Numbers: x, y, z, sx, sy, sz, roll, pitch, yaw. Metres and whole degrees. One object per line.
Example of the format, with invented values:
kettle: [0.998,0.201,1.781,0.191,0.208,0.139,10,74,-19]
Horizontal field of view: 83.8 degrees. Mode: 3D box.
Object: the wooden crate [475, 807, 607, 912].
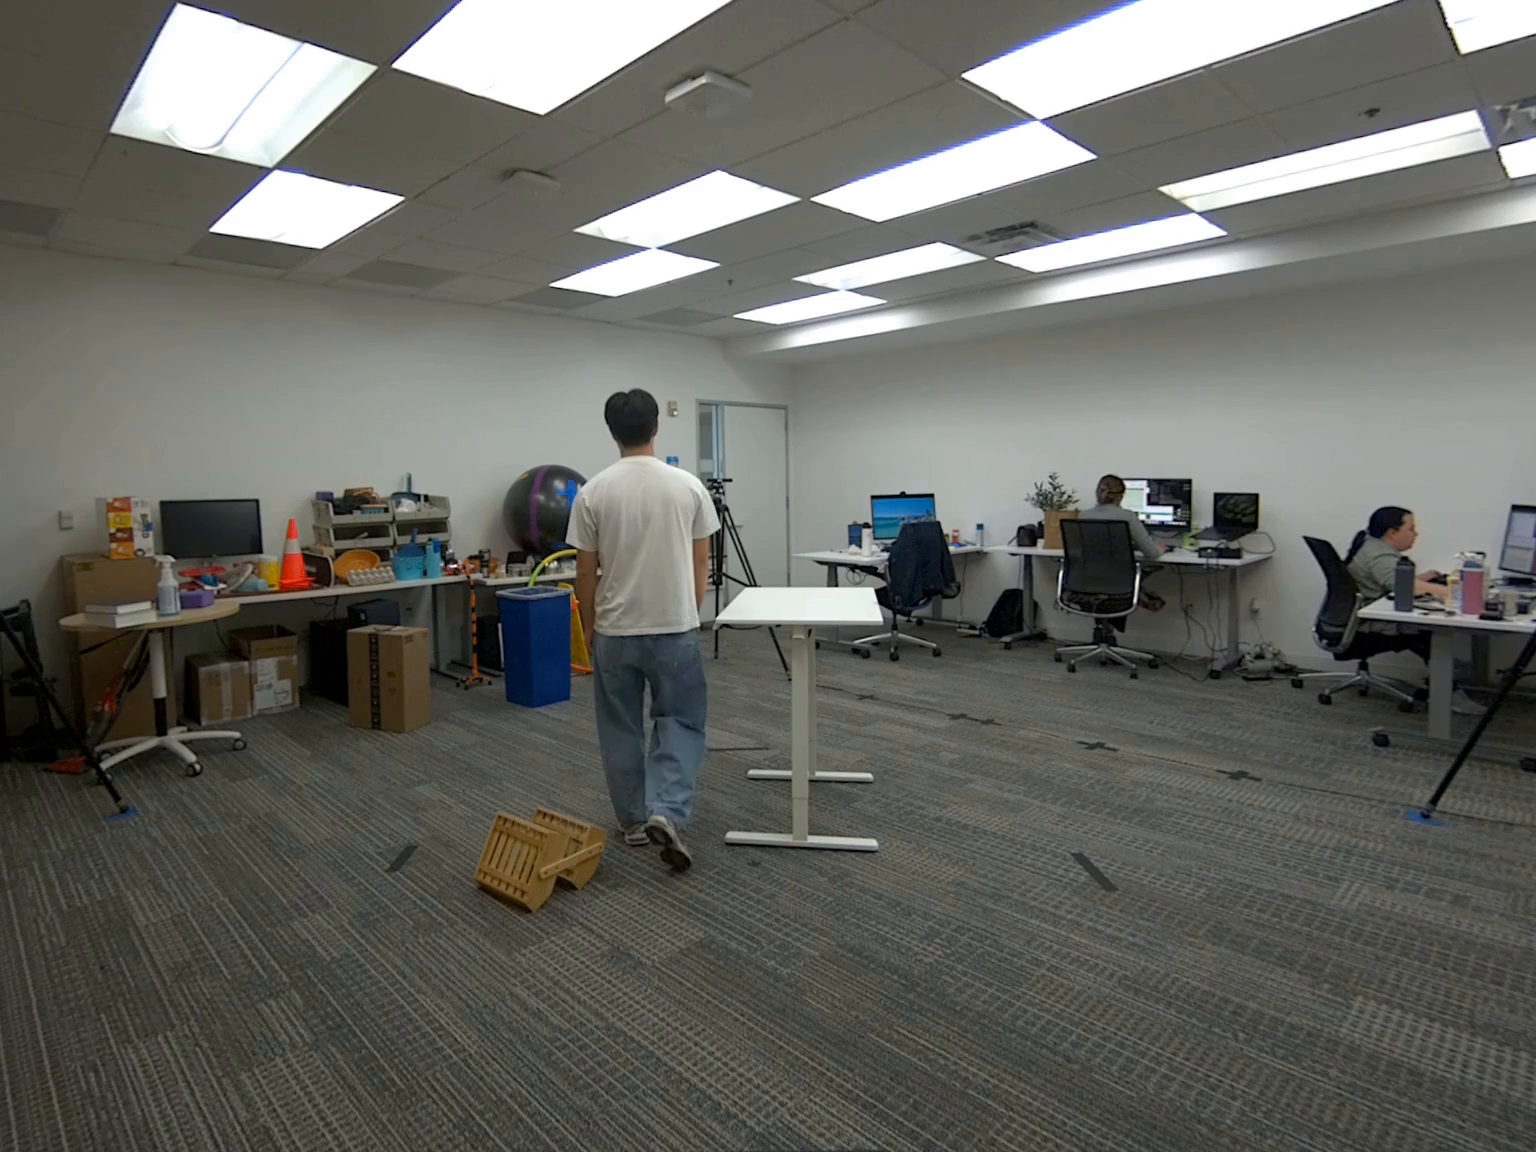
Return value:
wooden crate: [-0.790,0.985,2.990,0.334,0.305,0.263,3,-21,39]
